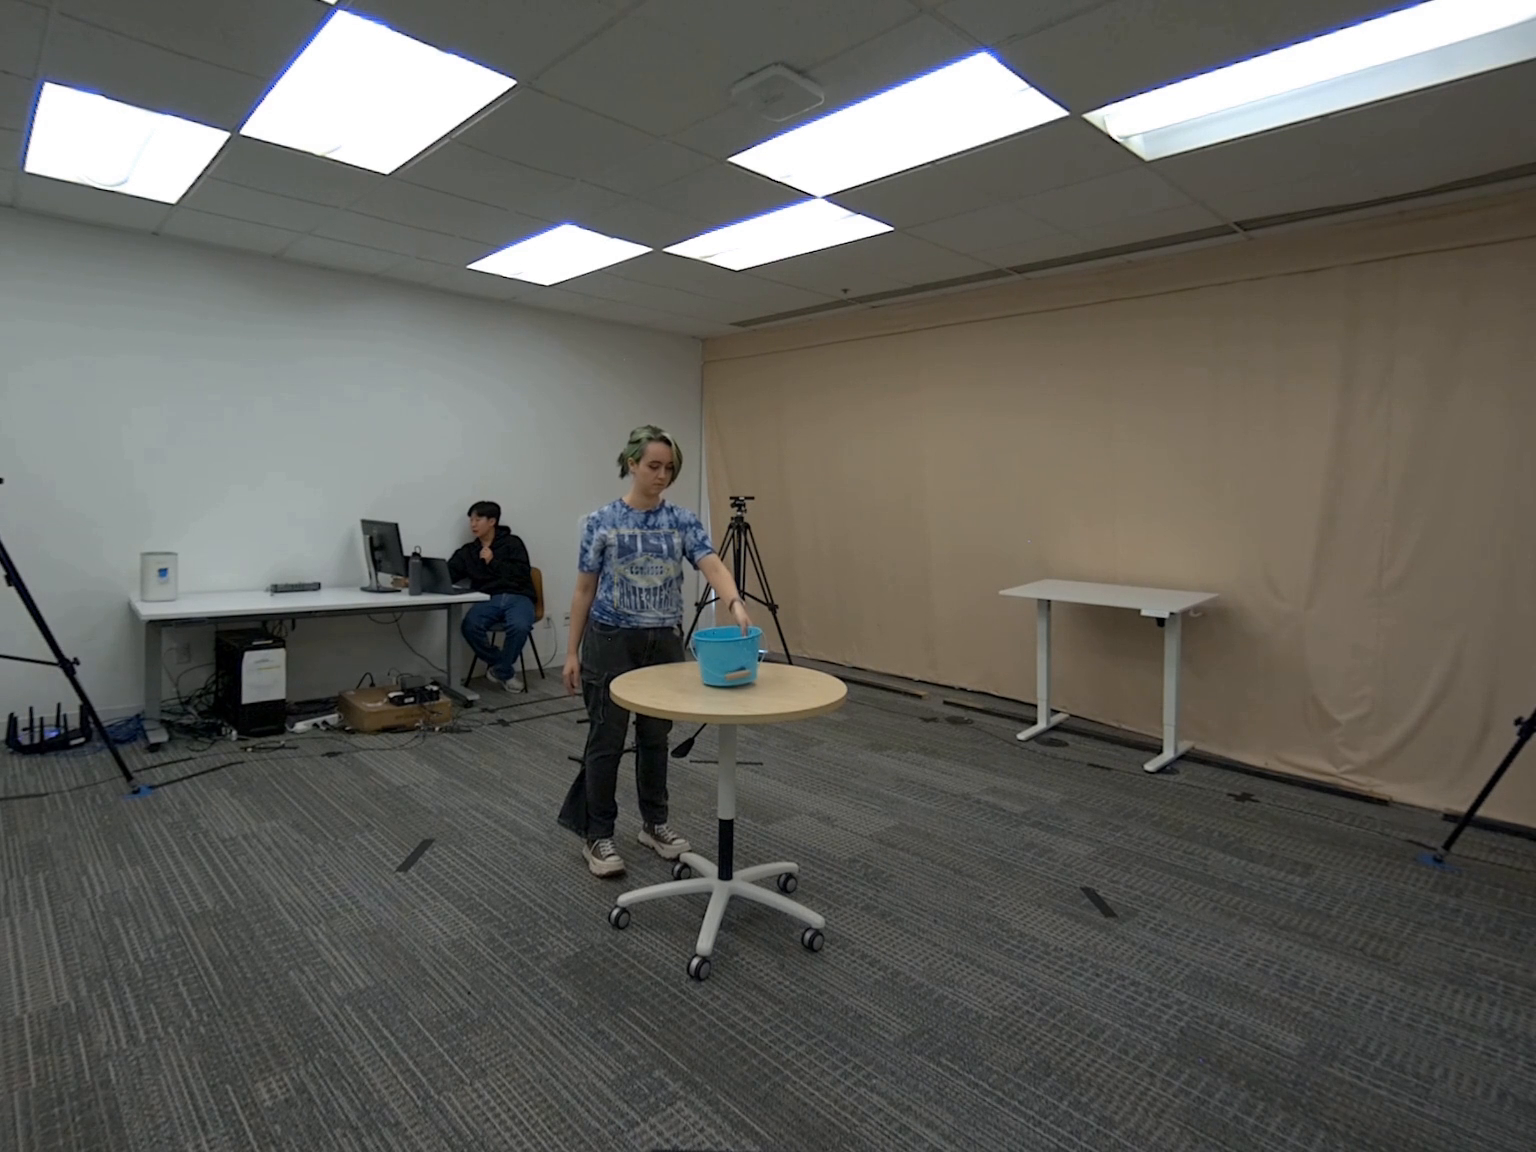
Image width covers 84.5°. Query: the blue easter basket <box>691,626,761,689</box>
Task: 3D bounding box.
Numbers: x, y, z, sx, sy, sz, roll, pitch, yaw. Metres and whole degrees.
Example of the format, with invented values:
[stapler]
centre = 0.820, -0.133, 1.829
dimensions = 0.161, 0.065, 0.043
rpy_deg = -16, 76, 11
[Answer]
[blue easter basket]
centre = -0.142, 0.263, 2.726
dimensions = 0.243, 0.155, 0.245
rpy_deg = -3, 6, -1
